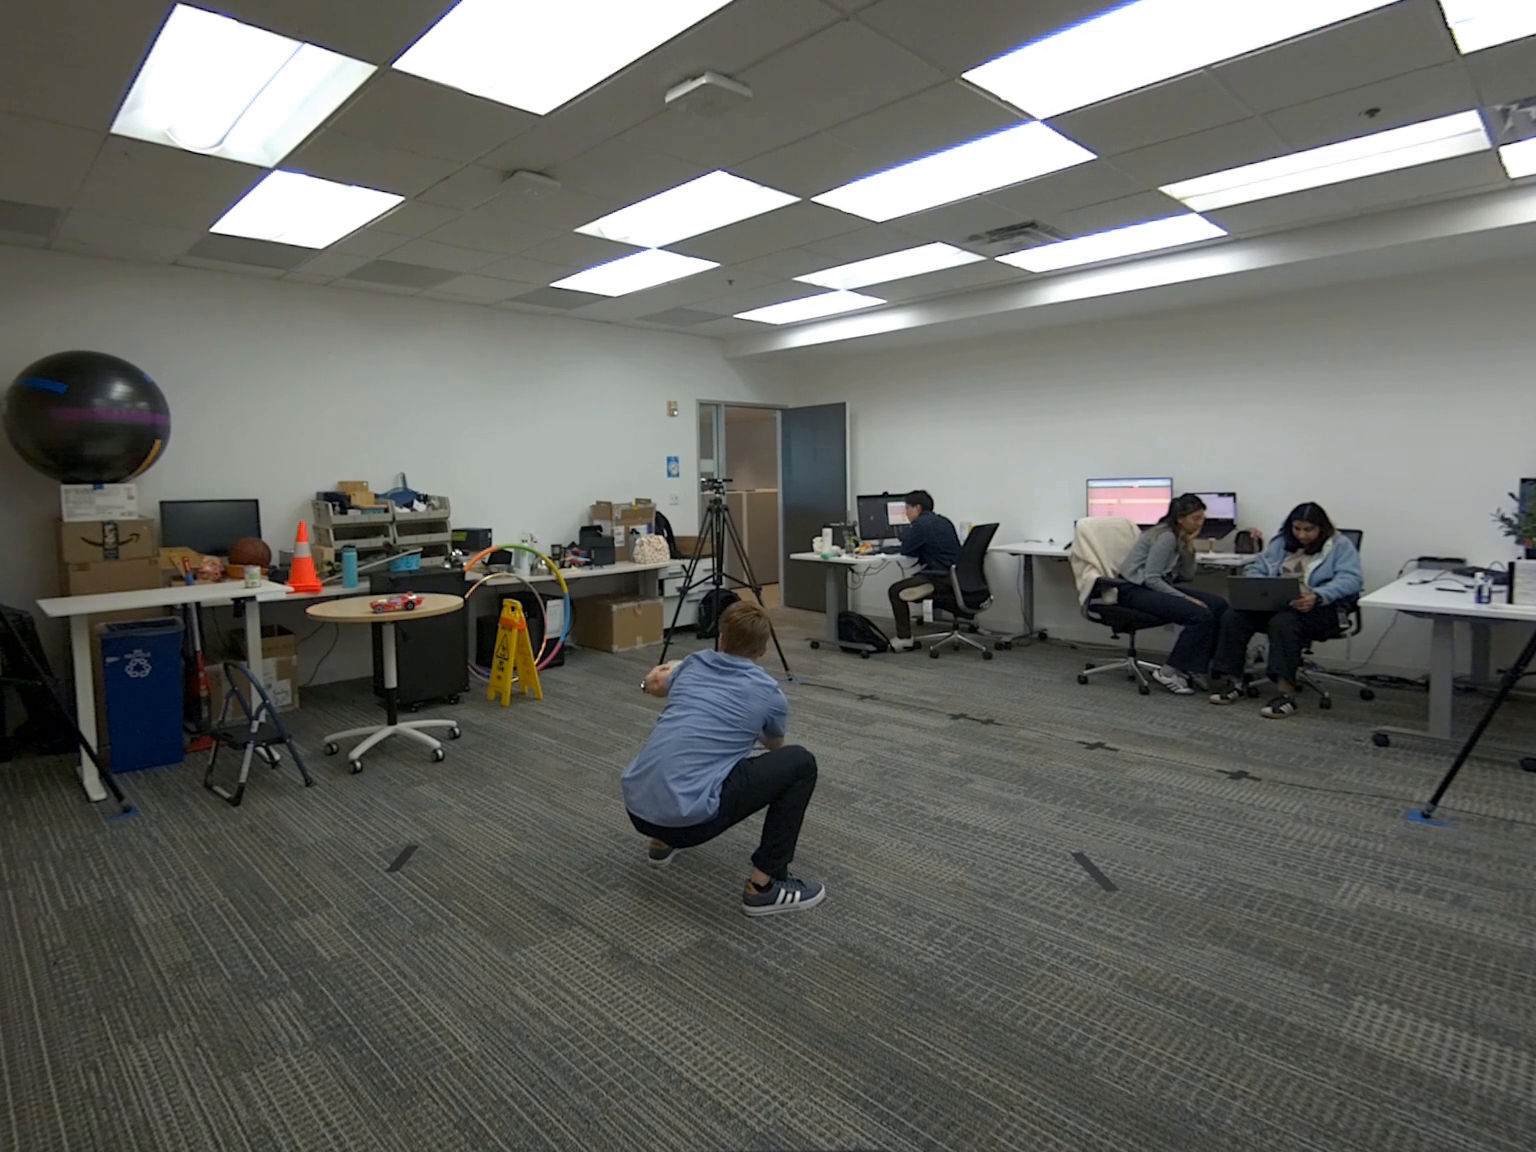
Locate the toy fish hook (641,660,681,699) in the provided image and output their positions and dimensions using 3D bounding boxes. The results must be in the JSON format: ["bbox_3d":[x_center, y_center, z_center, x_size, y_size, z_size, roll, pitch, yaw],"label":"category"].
[{"bbox_3d":[-0.221,0.429,3.579,0.520,0.047,0.223,10,25,25],"label":"toy fish hook"}]
